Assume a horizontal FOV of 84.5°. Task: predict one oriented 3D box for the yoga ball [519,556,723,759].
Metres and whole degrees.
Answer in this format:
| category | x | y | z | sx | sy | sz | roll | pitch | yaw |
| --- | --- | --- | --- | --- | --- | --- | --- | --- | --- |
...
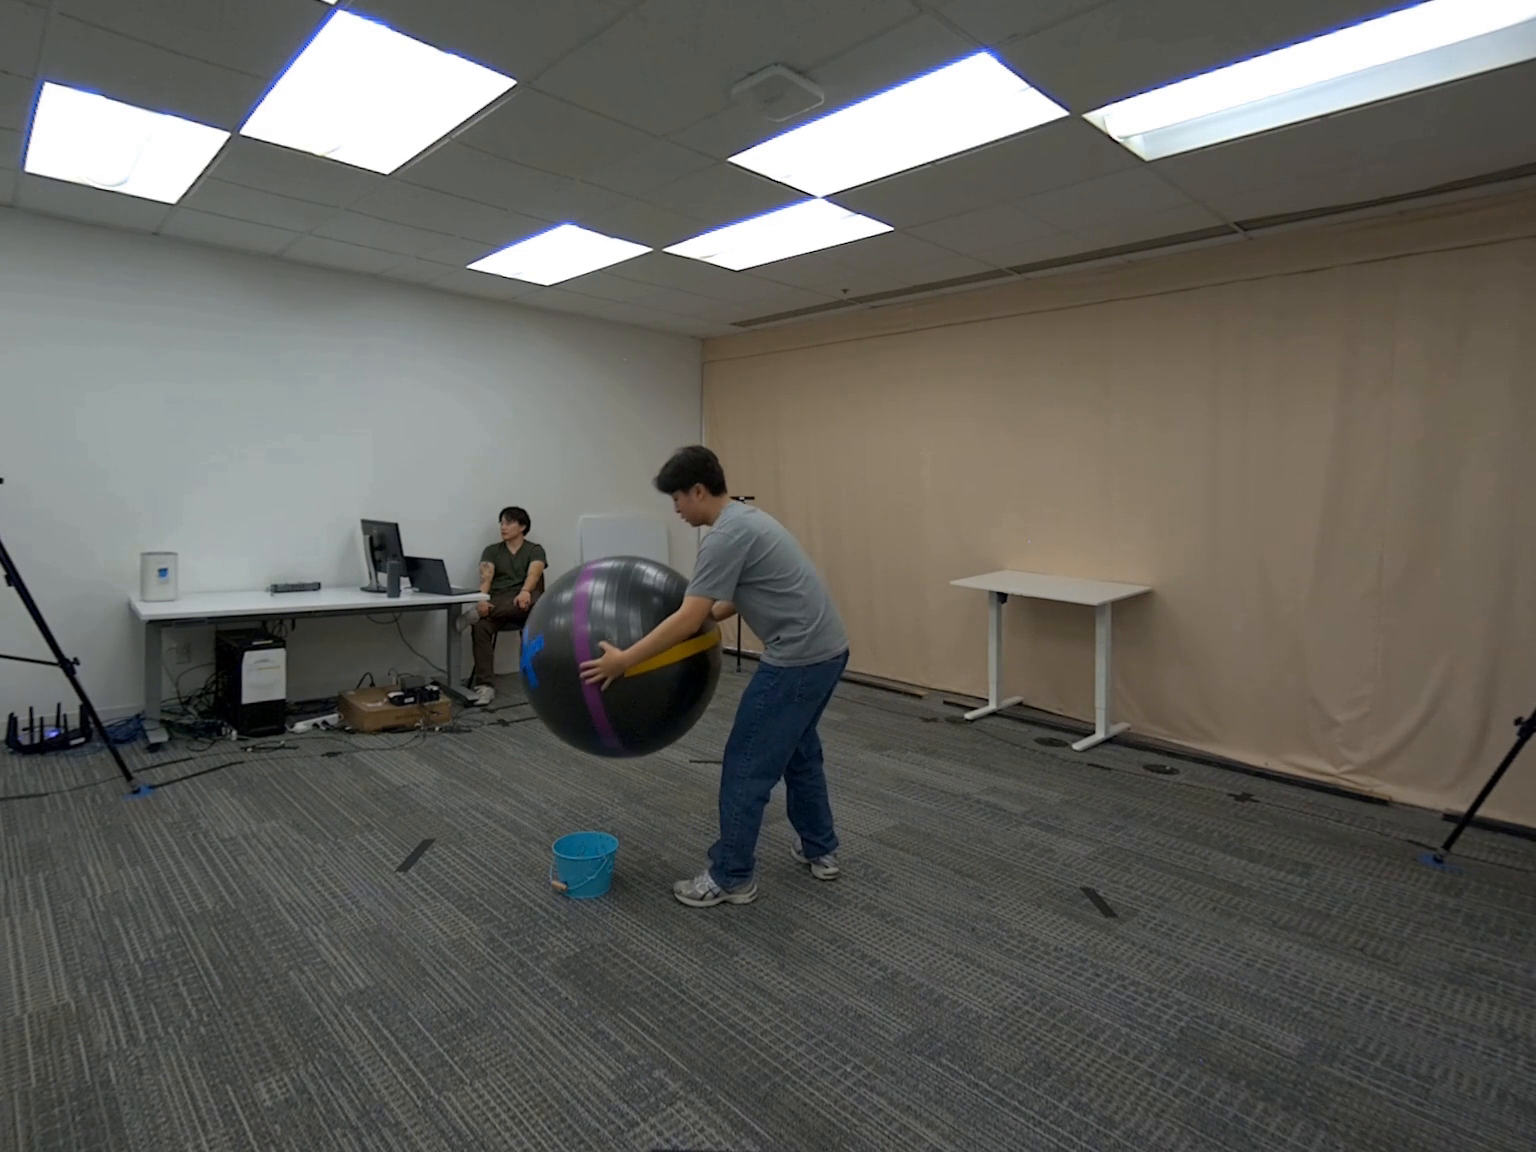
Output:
| category | x | y | z | sx | sy | sz | roll | pitch | yaw |
| --- | --- | --- | --- | --- | --- | --- | --- | --- | --- |
| yoga ball | -0.552 | 0.307 | 3.198 | 0.757 | 0.756 | 0.761 | 1 | 4 | -1 |
